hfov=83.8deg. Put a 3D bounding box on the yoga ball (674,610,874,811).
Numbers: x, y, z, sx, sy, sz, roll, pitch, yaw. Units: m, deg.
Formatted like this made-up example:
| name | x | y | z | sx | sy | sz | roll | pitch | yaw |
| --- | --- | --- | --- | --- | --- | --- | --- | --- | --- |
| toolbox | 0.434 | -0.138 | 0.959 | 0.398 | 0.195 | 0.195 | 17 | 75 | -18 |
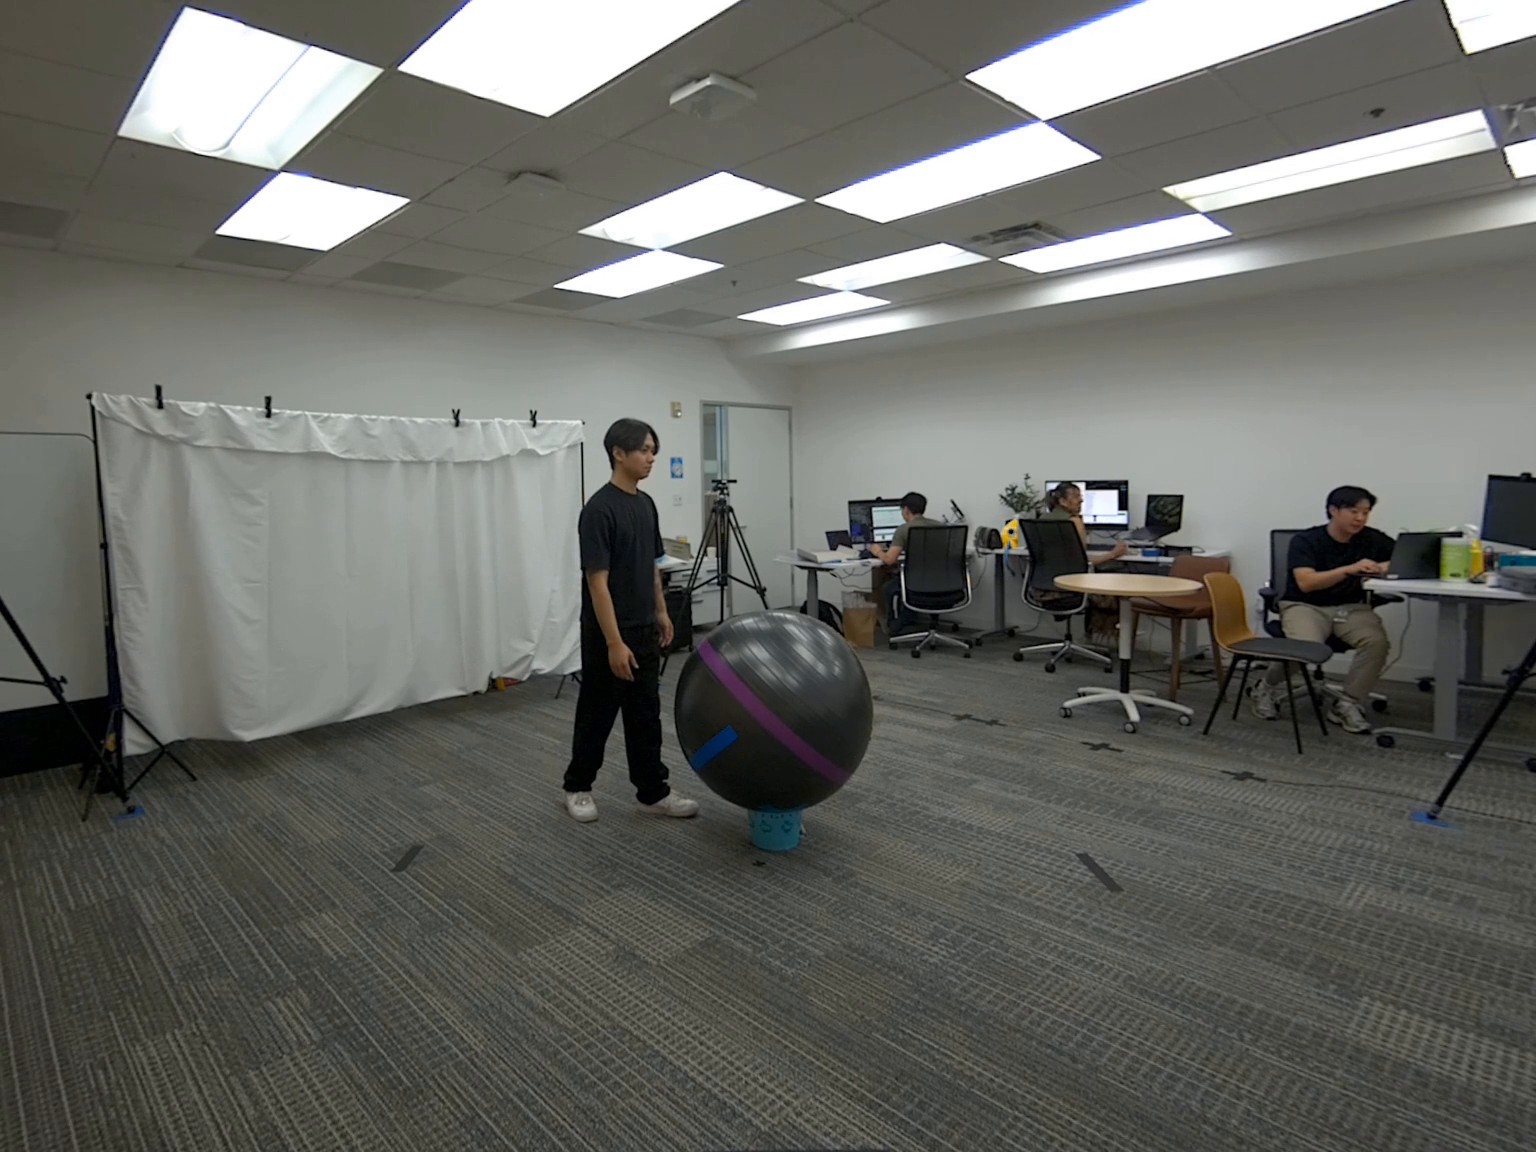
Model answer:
| name | x | y | z | sx | sy | sz | roll | pitch | yaw |
| --- | --- | --- | --- | --- | --- | --- | --- | --- | --- |
| yoga ball | 0.028 | 0.519 | 3.285 | 0.757 | 0.755 | 0.762 | -1 | 5 | -2 |
